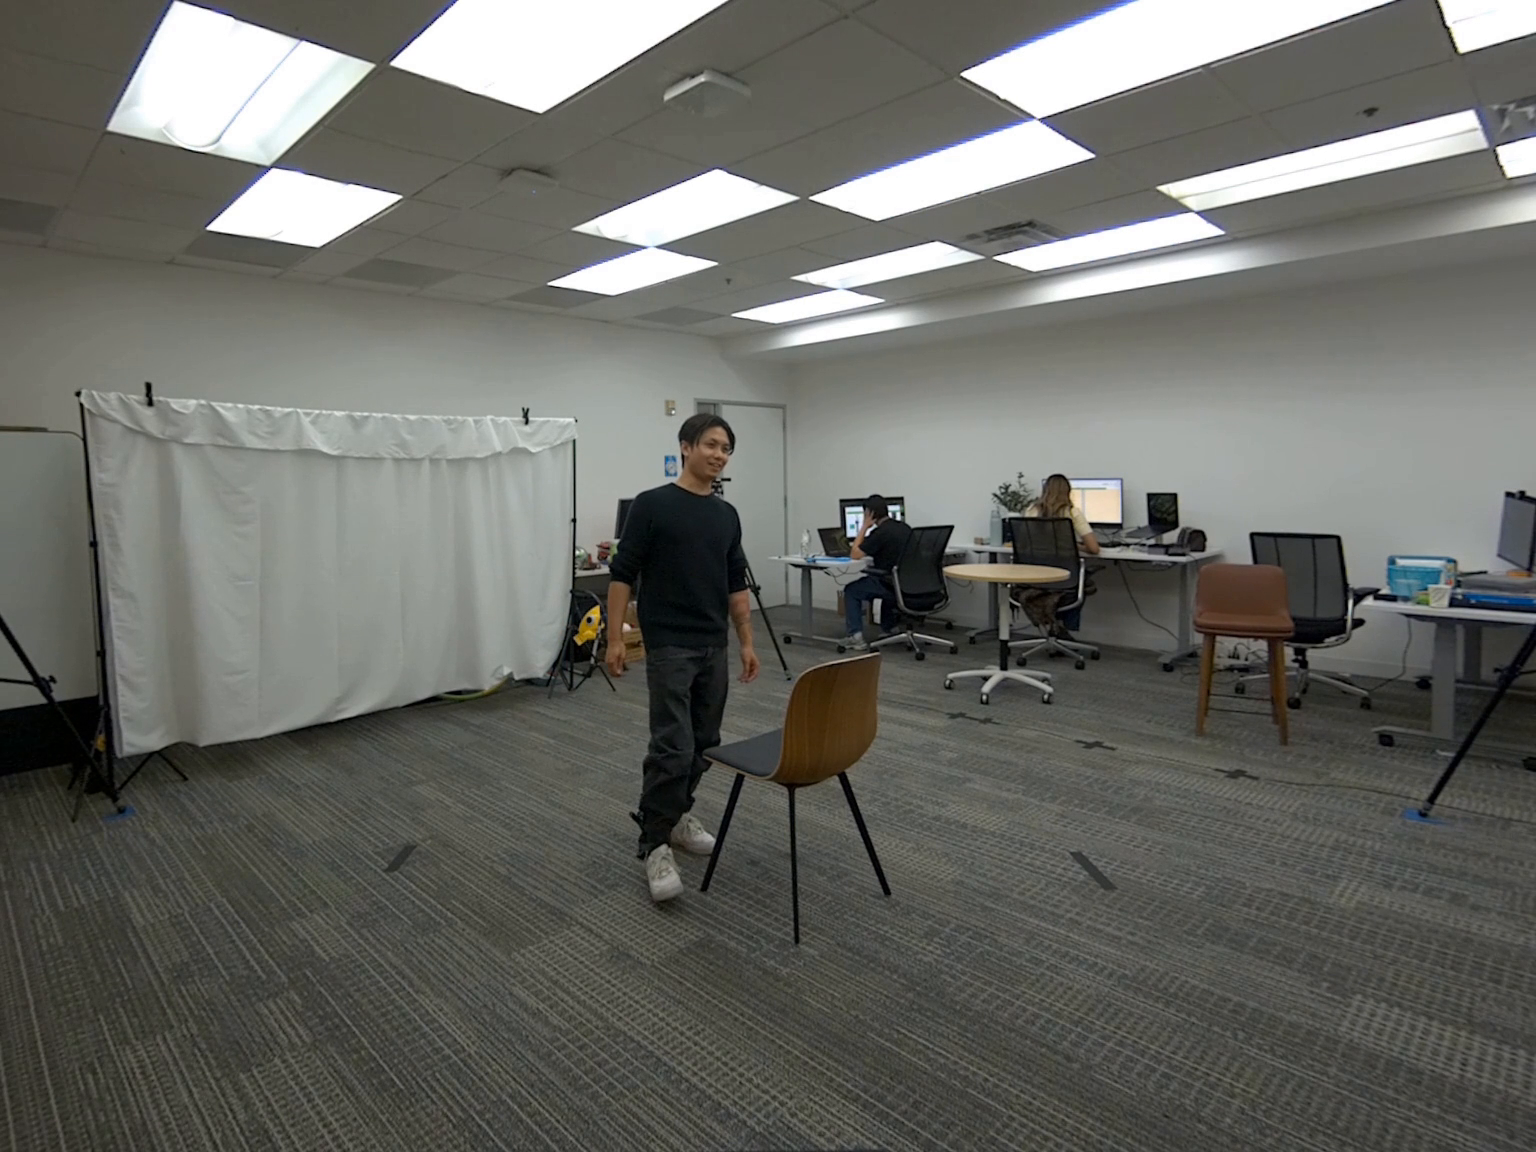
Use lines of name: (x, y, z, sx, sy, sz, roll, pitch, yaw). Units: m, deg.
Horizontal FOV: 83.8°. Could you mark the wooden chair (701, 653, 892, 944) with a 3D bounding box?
wooden chair: (0.083, 0.642, 2.842, 0.465, 0.871, 0.540, -5, 10, -42)
